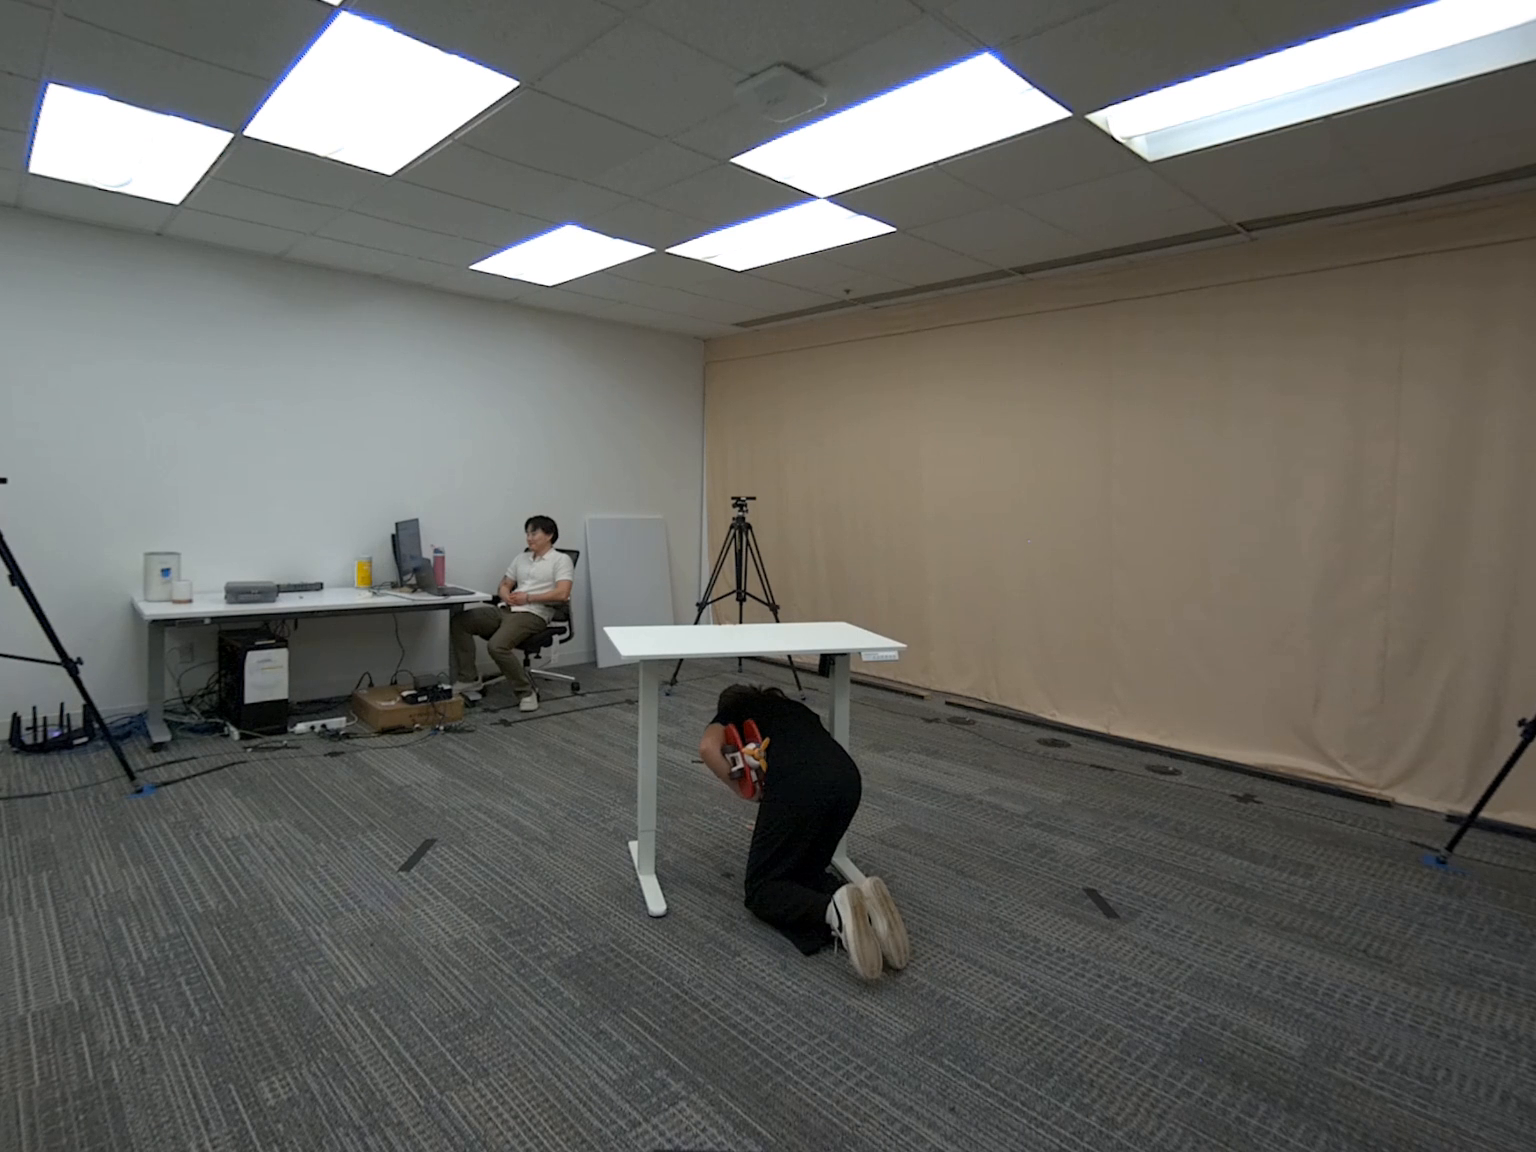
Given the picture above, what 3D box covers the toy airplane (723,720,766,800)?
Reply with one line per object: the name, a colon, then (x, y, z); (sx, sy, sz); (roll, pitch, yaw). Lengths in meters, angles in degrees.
toy airplane: (-0.120, 0.623, 2.962); (0.154, 0.249, 0.265); (-8, 10, -23)
